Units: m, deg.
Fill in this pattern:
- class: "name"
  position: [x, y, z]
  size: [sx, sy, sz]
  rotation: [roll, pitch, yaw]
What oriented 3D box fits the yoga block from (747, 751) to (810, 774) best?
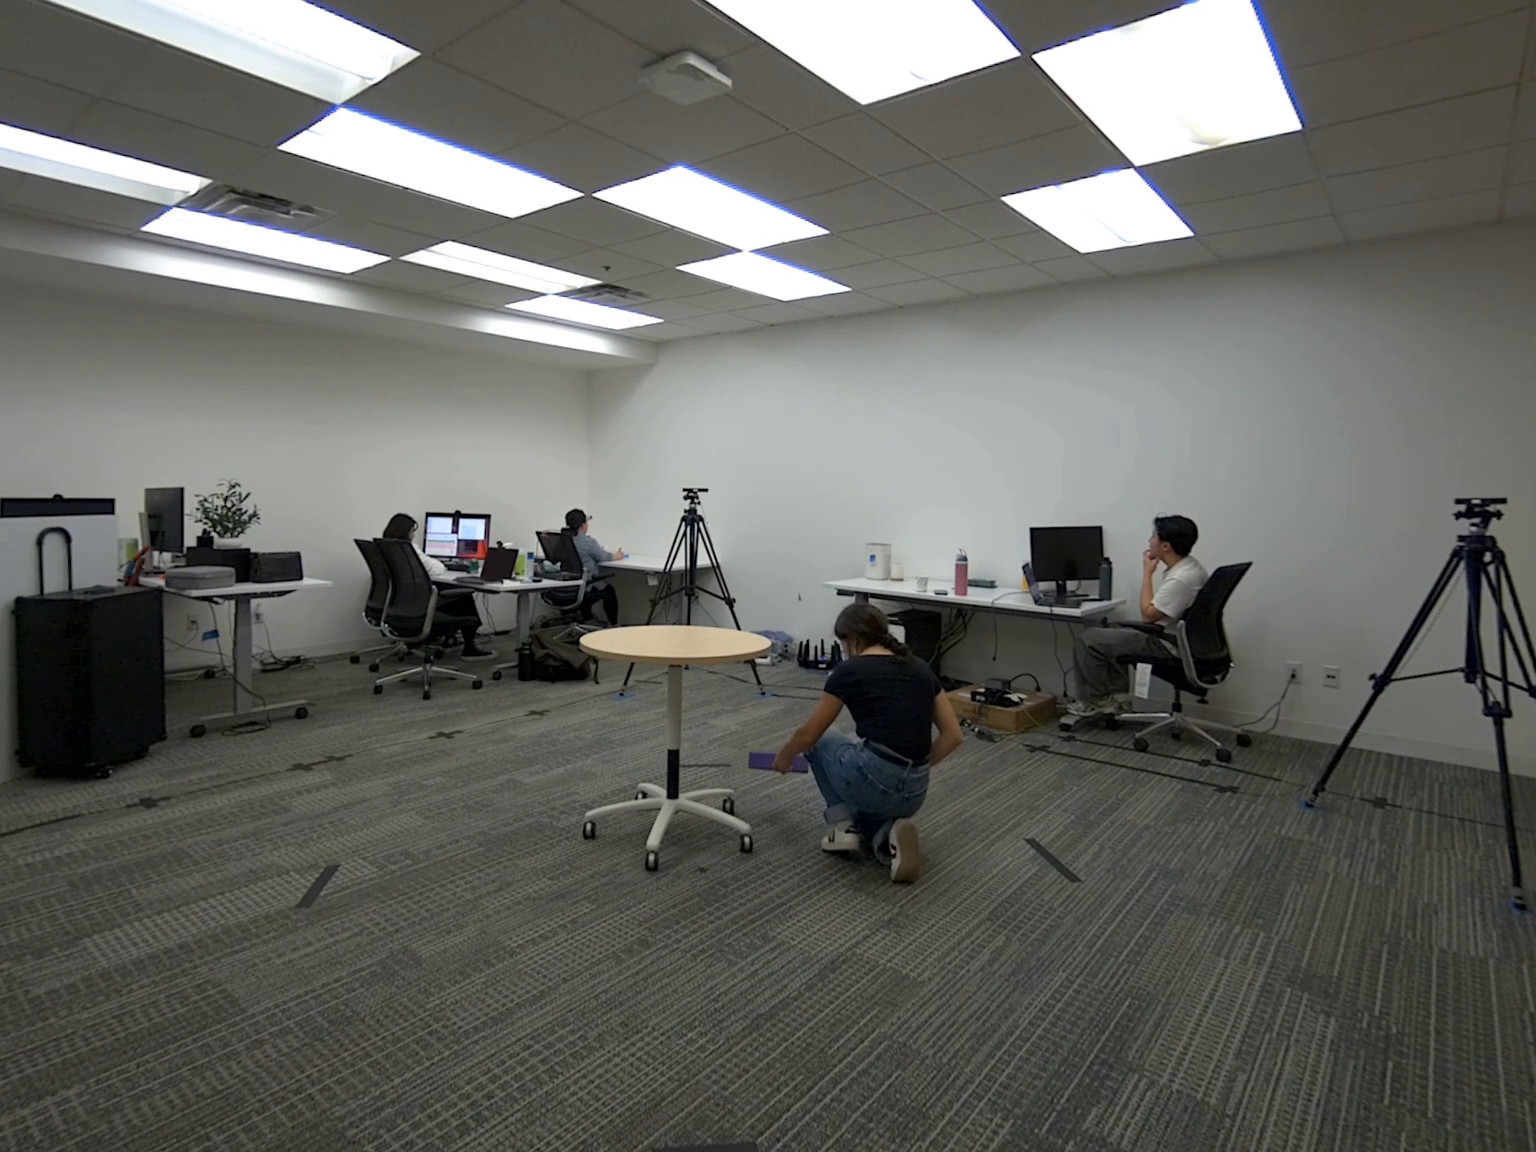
- class: "yoga block"
  position: [0.056, 0.784, 3.649]
  size: [0.235, 0.077, 0.143]
  rotation: [-8, -16, 43]
